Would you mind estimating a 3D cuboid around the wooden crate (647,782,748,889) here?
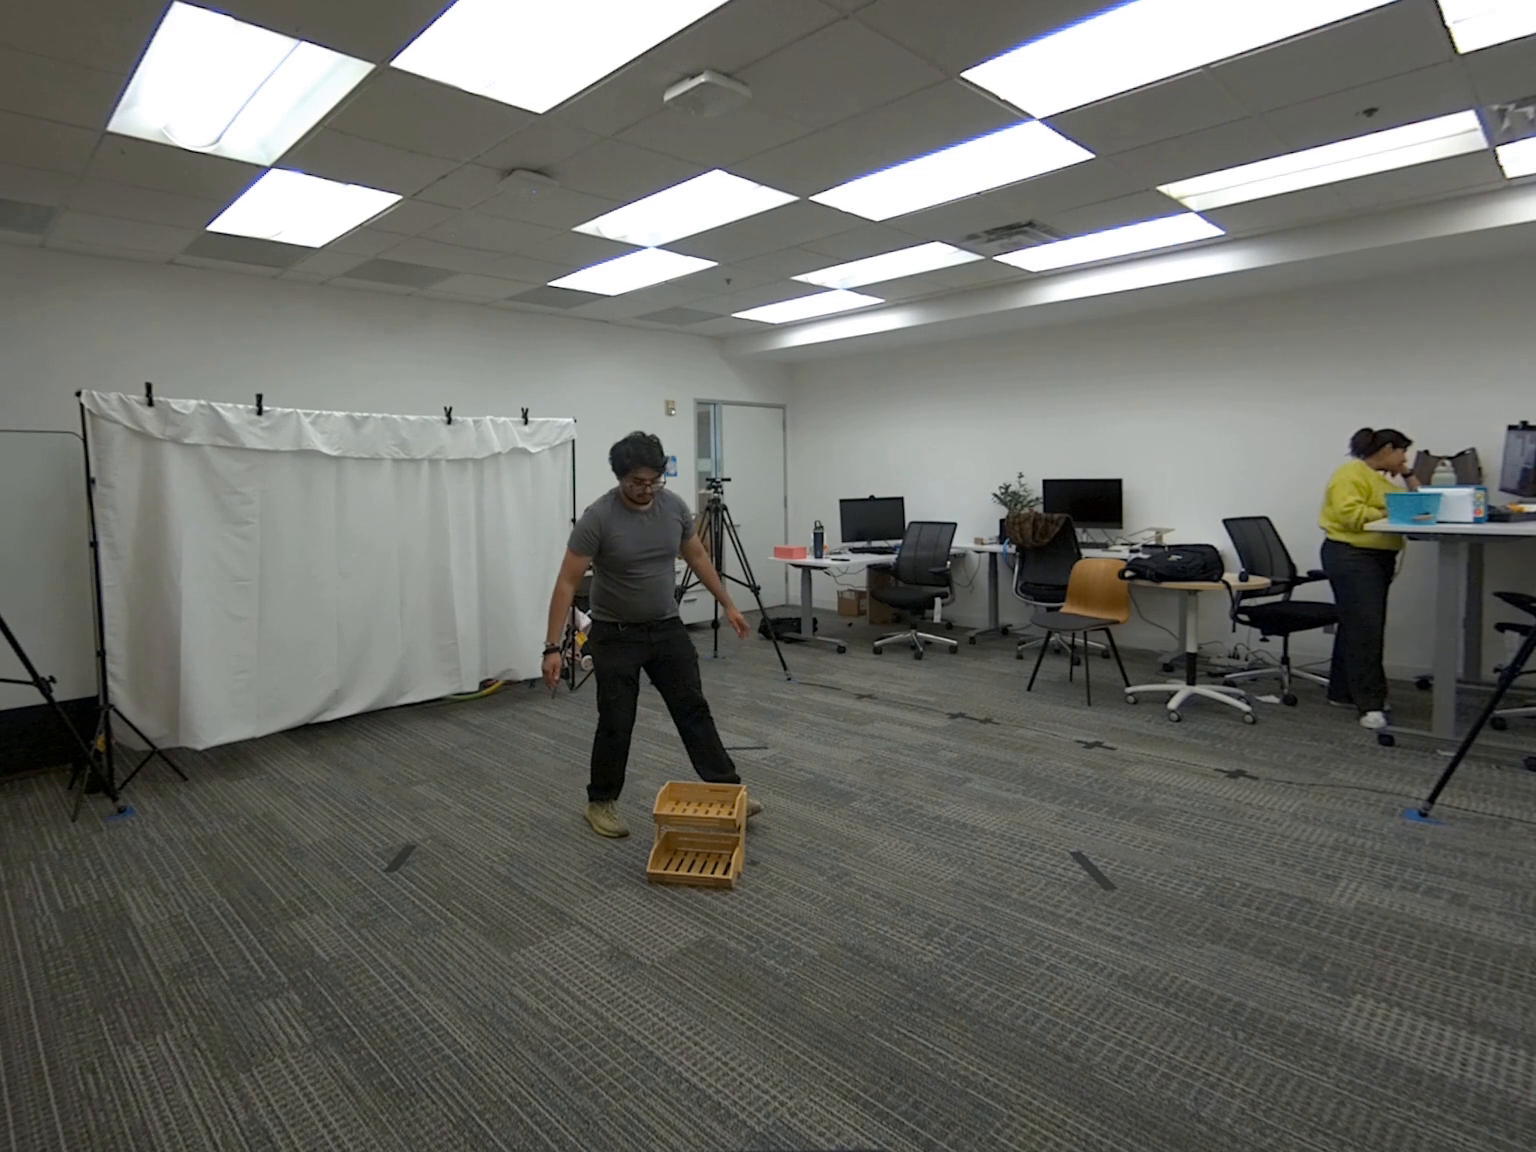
[{"bbox_3d":[-0.248,0.920,3.057,0.328,0.272,0.300,0,4,10],"label":"wooden crate"}]
